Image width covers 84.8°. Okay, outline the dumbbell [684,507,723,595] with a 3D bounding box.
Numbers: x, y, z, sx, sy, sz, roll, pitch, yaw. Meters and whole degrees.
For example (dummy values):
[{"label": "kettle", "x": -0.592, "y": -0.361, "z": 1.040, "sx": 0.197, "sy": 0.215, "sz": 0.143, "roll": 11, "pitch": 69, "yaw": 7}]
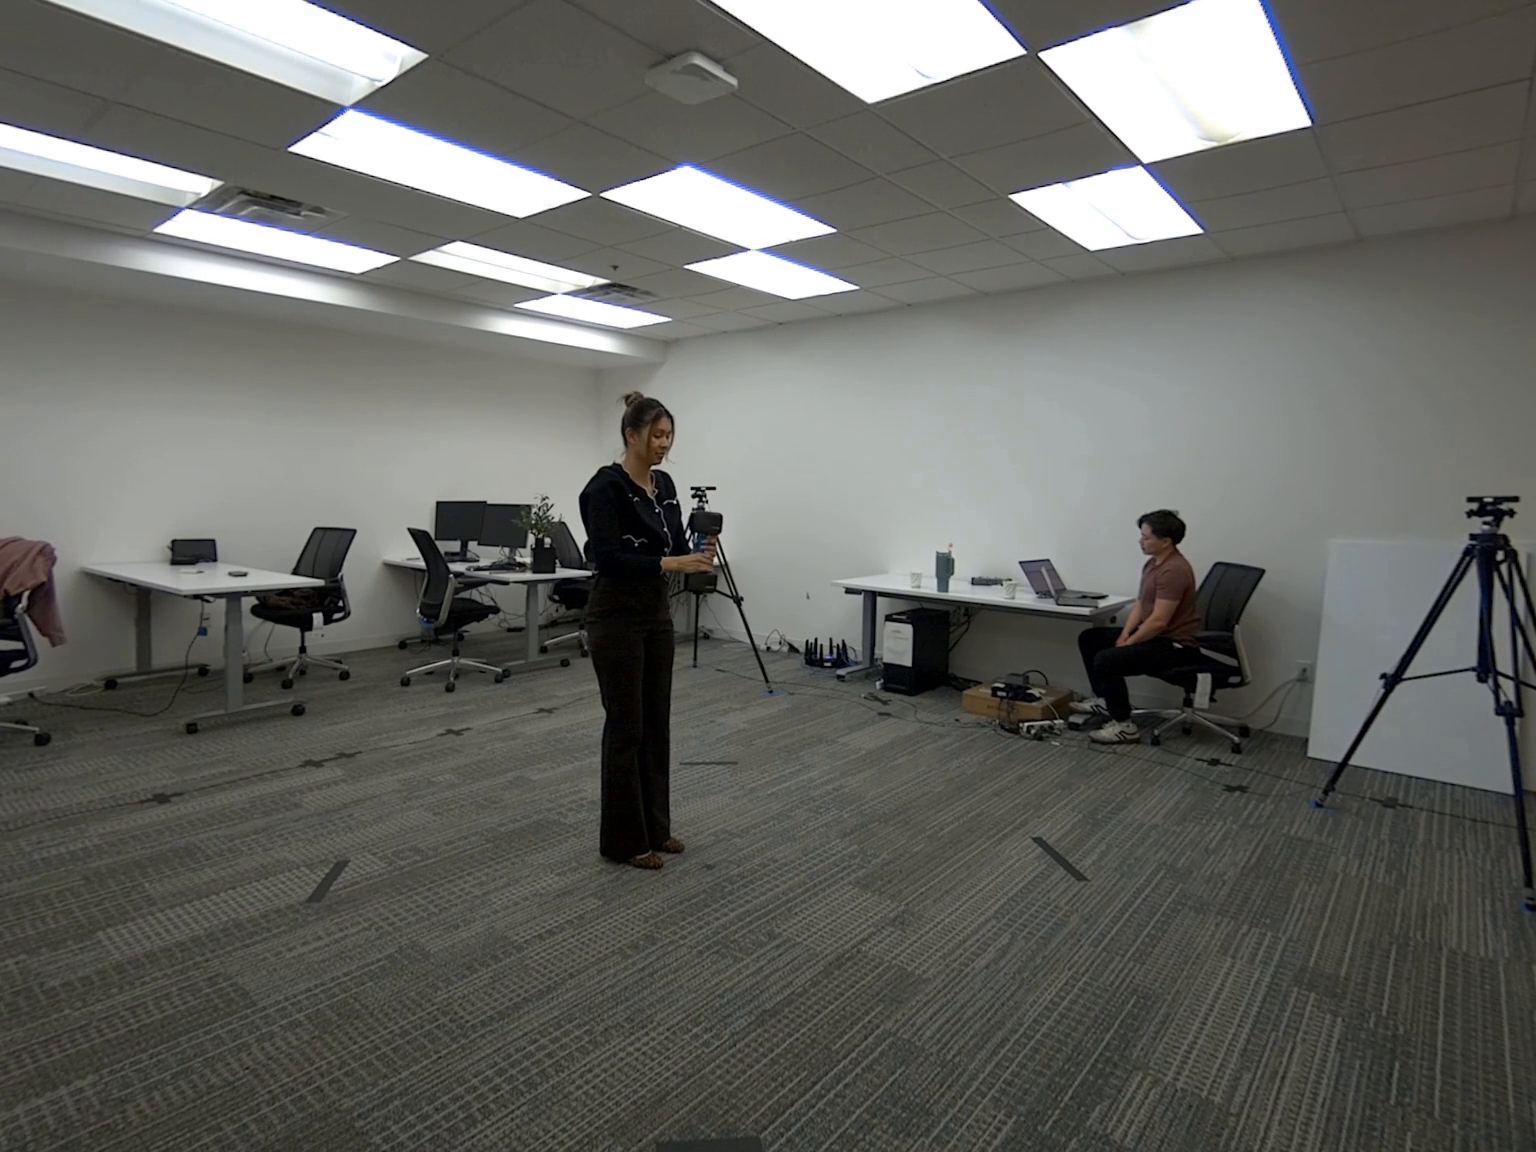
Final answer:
[{"label": "dumbbell", "x": -0.246, "y": -0.087, "z": 3.070, "sx": 0.106, "sy": 0.294, "sz": 0.125, "roll": 4, "pitch": -1, "yaw": -18}]
